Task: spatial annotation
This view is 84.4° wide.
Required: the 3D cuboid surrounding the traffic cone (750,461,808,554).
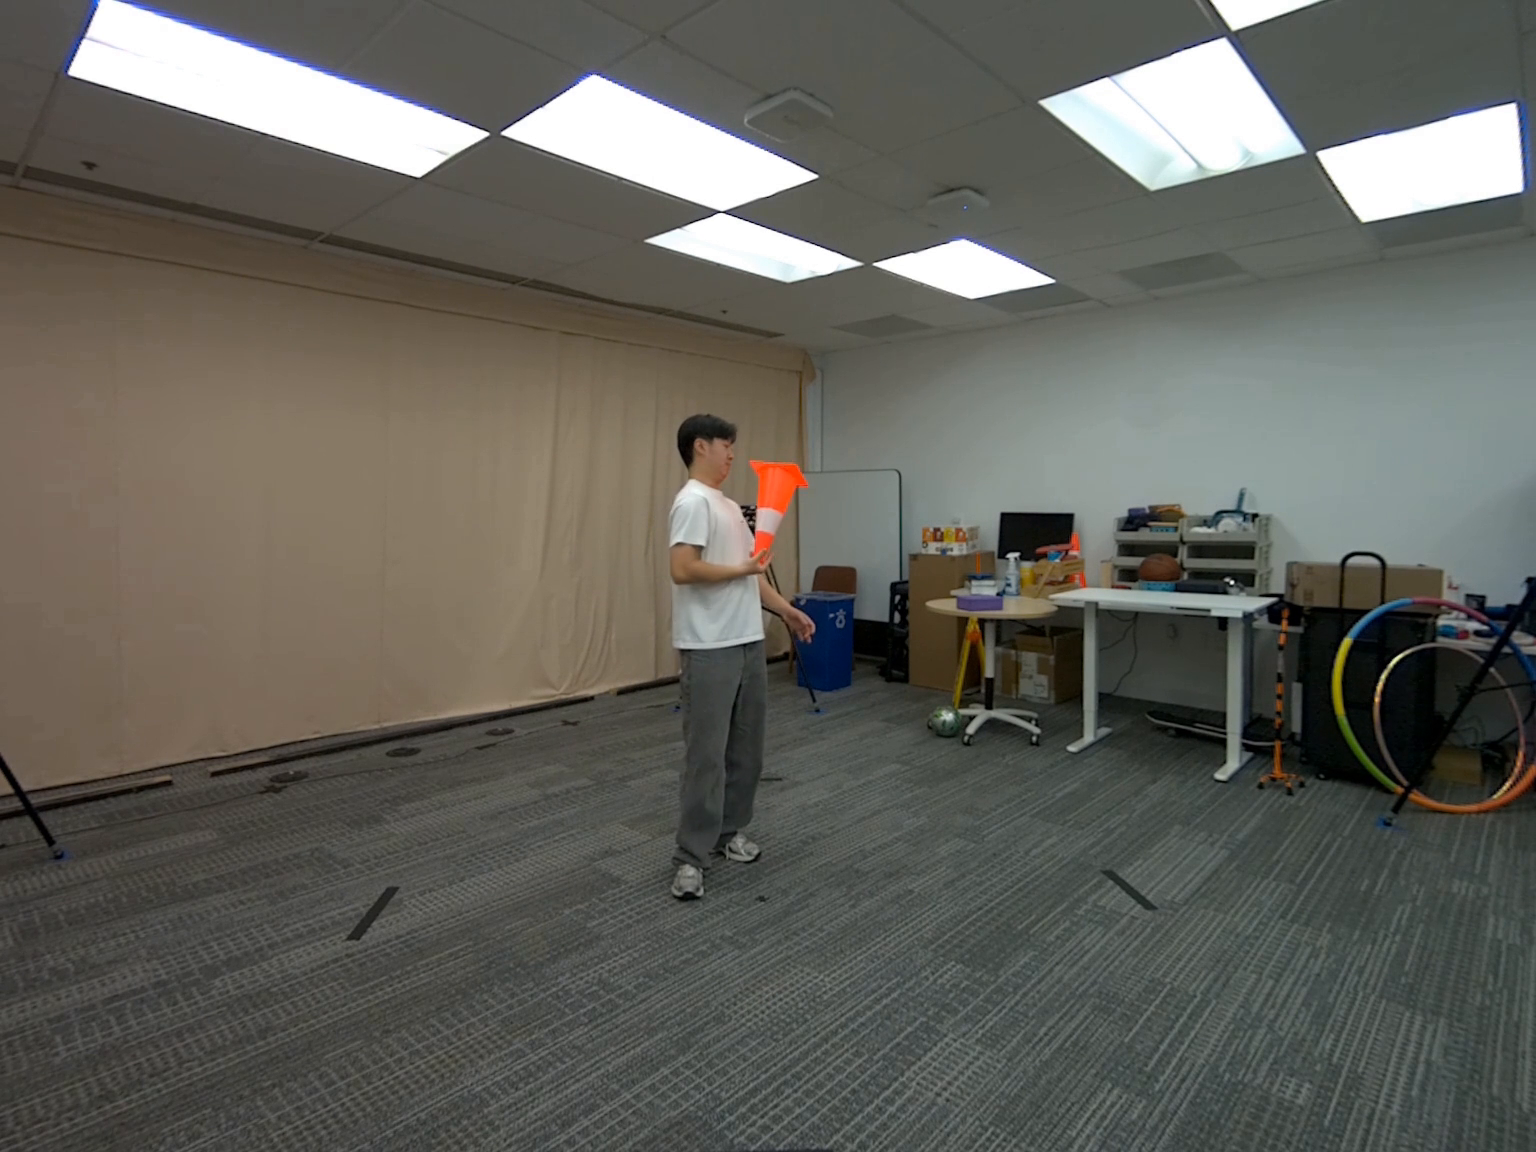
[{"bbox_3d":[0.012,-0.217,3.231,0.210,0.386,0.197,7,-17,20],"label":"traffic cone"}]
